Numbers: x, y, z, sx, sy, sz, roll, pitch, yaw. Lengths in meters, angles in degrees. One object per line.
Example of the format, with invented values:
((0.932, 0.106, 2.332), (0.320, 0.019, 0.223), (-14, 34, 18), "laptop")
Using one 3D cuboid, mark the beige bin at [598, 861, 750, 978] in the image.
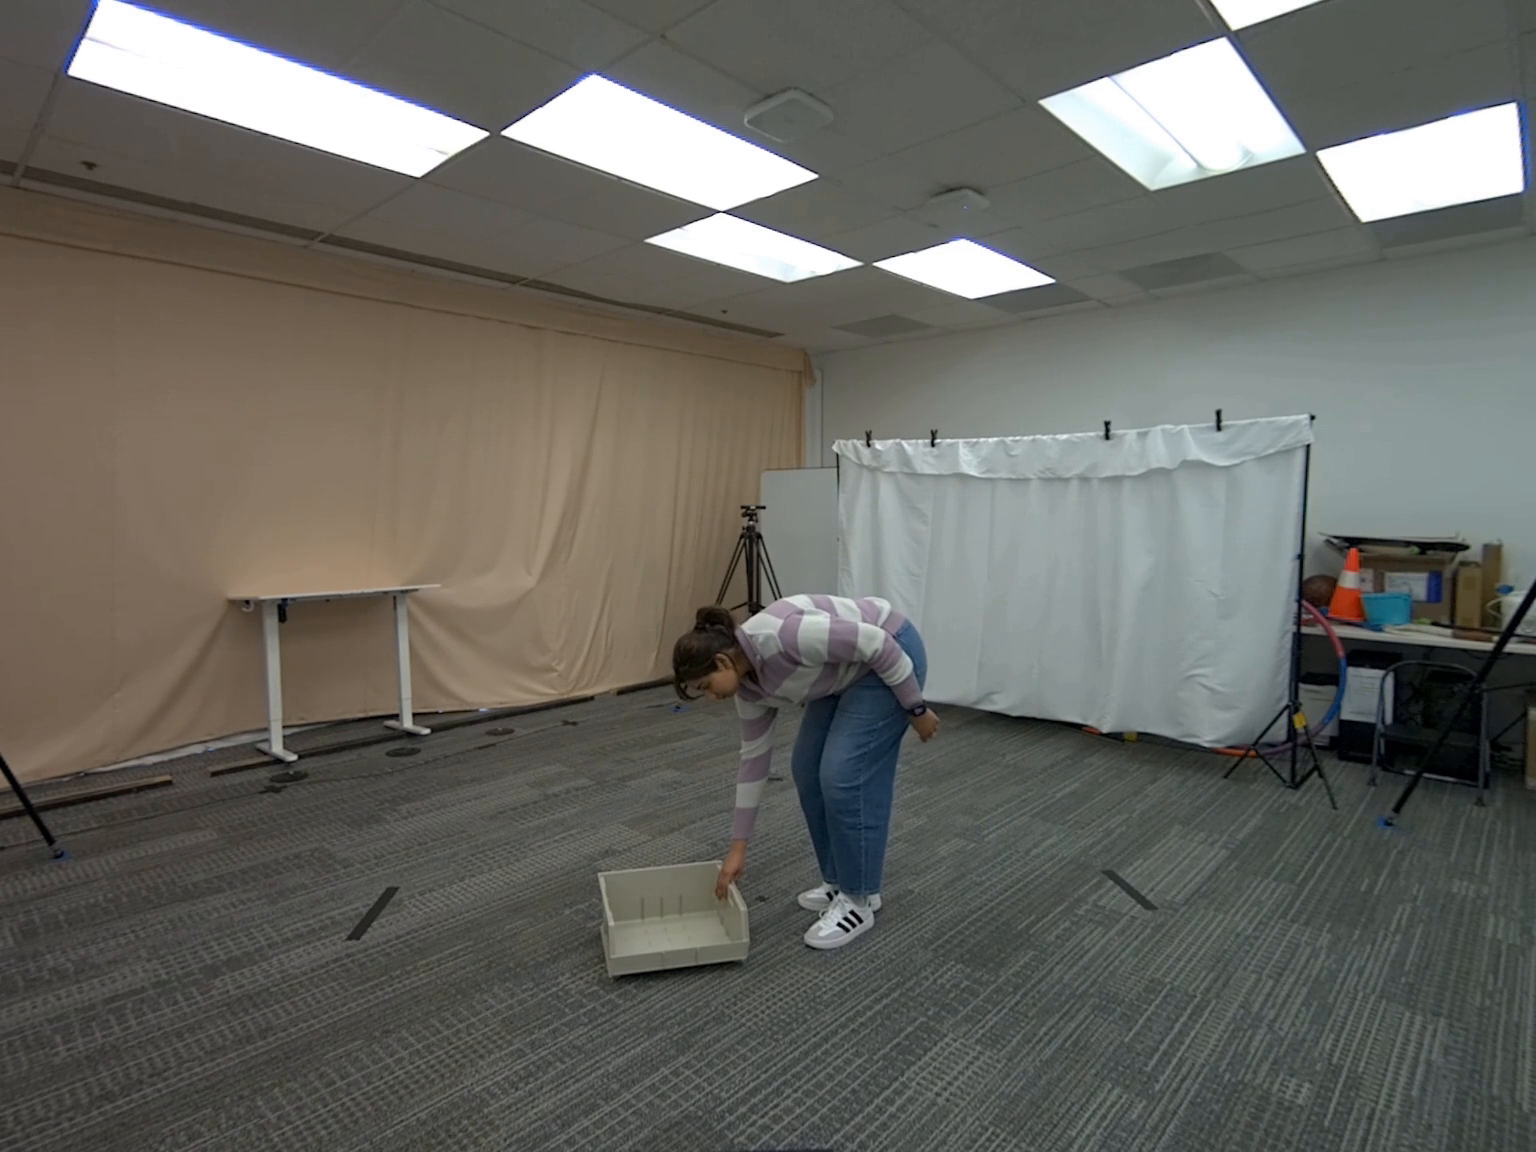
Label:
((-0.305, 1.083, 2.657), (0.416, 0.188, 0.384), (-3, 5, -14), "beige bin")
